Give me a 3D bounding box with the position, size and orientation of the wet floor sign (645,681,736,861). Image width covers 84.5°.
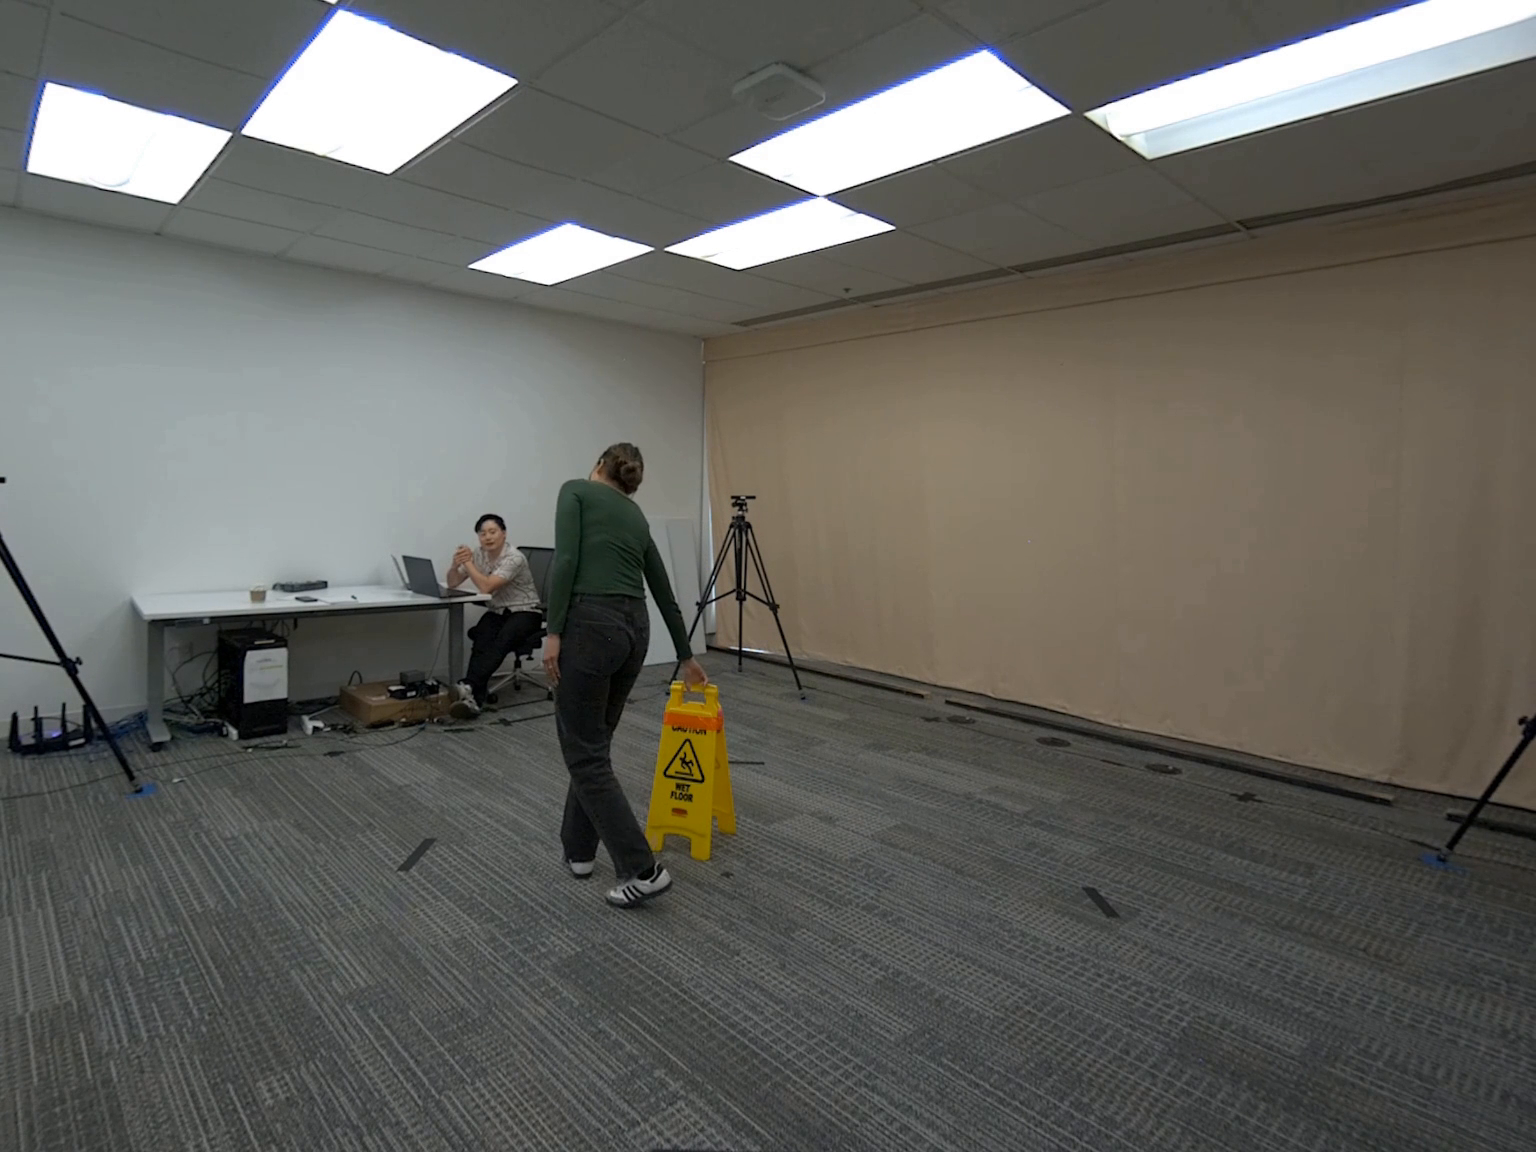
[{"bbox_3d":[-0.312,0.751,3.385,0.287,0.644,0.286,1,4,20],"label":"wet floor sign"}]
